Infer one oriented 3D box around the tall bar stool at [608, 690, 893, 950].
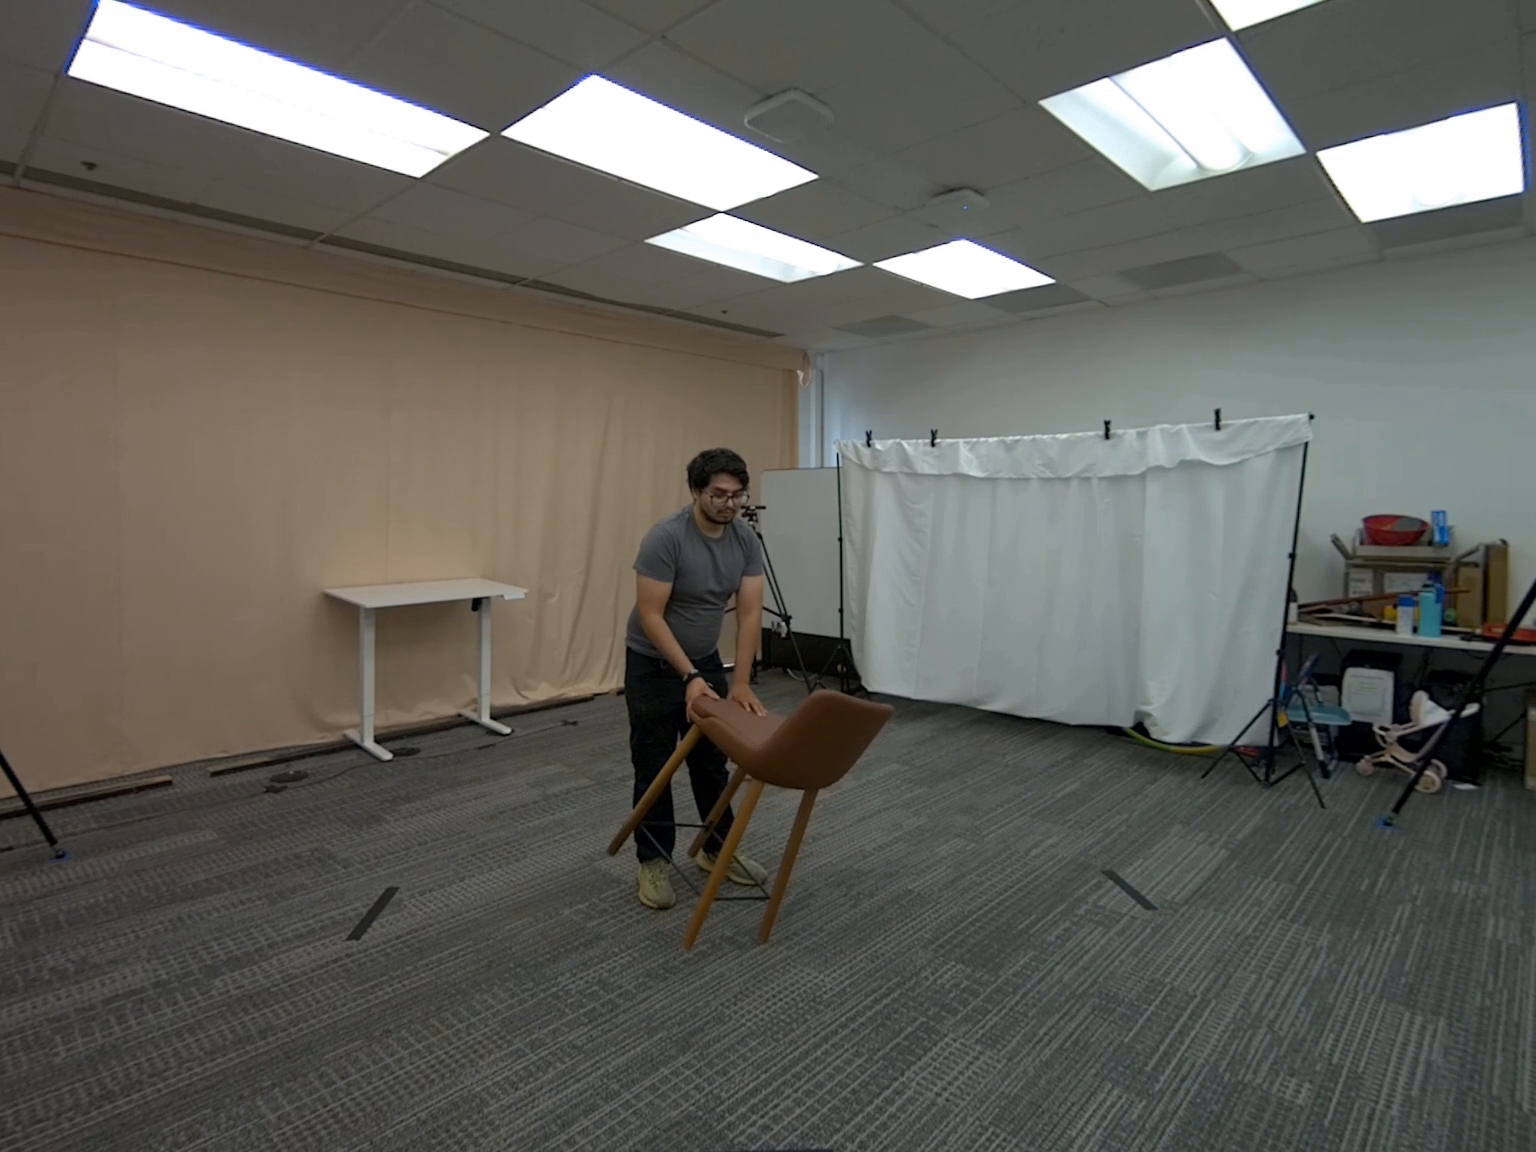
[{"bbox_3d":[-0.048,0.660,2.660,0.440,0.889,0.485,21,10,-45],"label":"tall bar stool"}]
